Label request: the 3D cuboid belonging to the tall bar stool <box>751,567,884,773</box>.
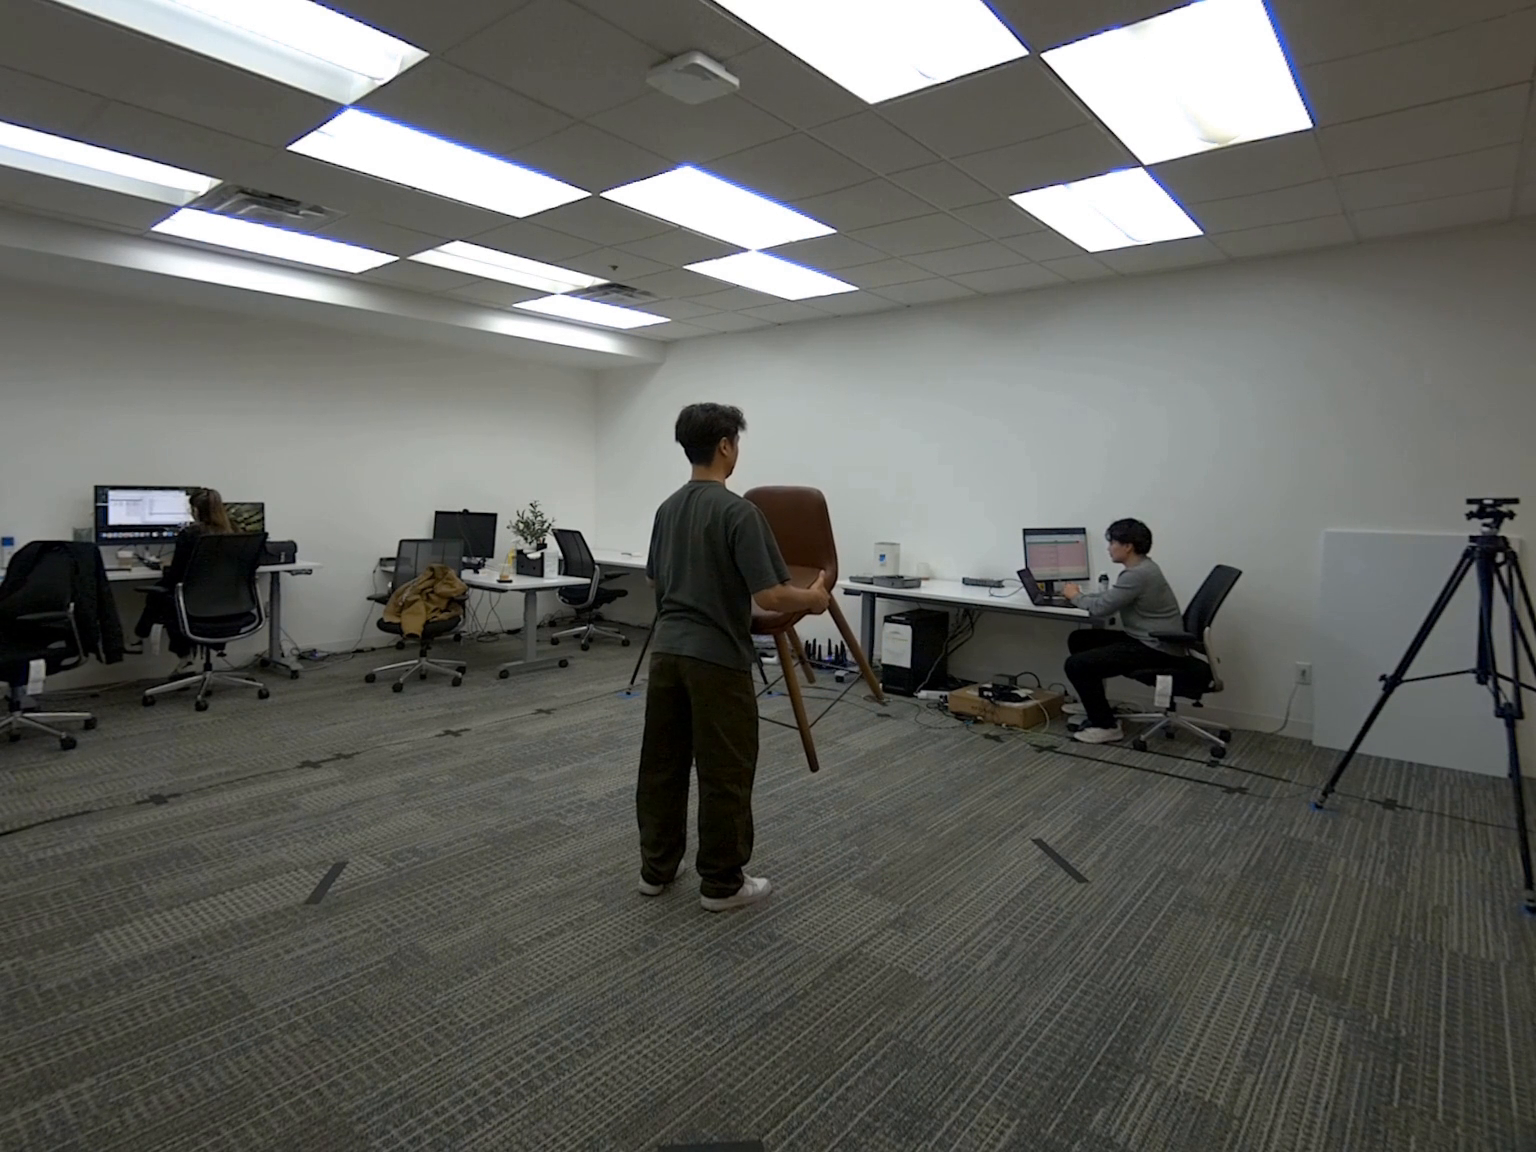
[{"bbox_3d":[0.027,0.171,3.071,0.472,0.869,0.462,6,30,47],"label":"tall bar stool"}]
